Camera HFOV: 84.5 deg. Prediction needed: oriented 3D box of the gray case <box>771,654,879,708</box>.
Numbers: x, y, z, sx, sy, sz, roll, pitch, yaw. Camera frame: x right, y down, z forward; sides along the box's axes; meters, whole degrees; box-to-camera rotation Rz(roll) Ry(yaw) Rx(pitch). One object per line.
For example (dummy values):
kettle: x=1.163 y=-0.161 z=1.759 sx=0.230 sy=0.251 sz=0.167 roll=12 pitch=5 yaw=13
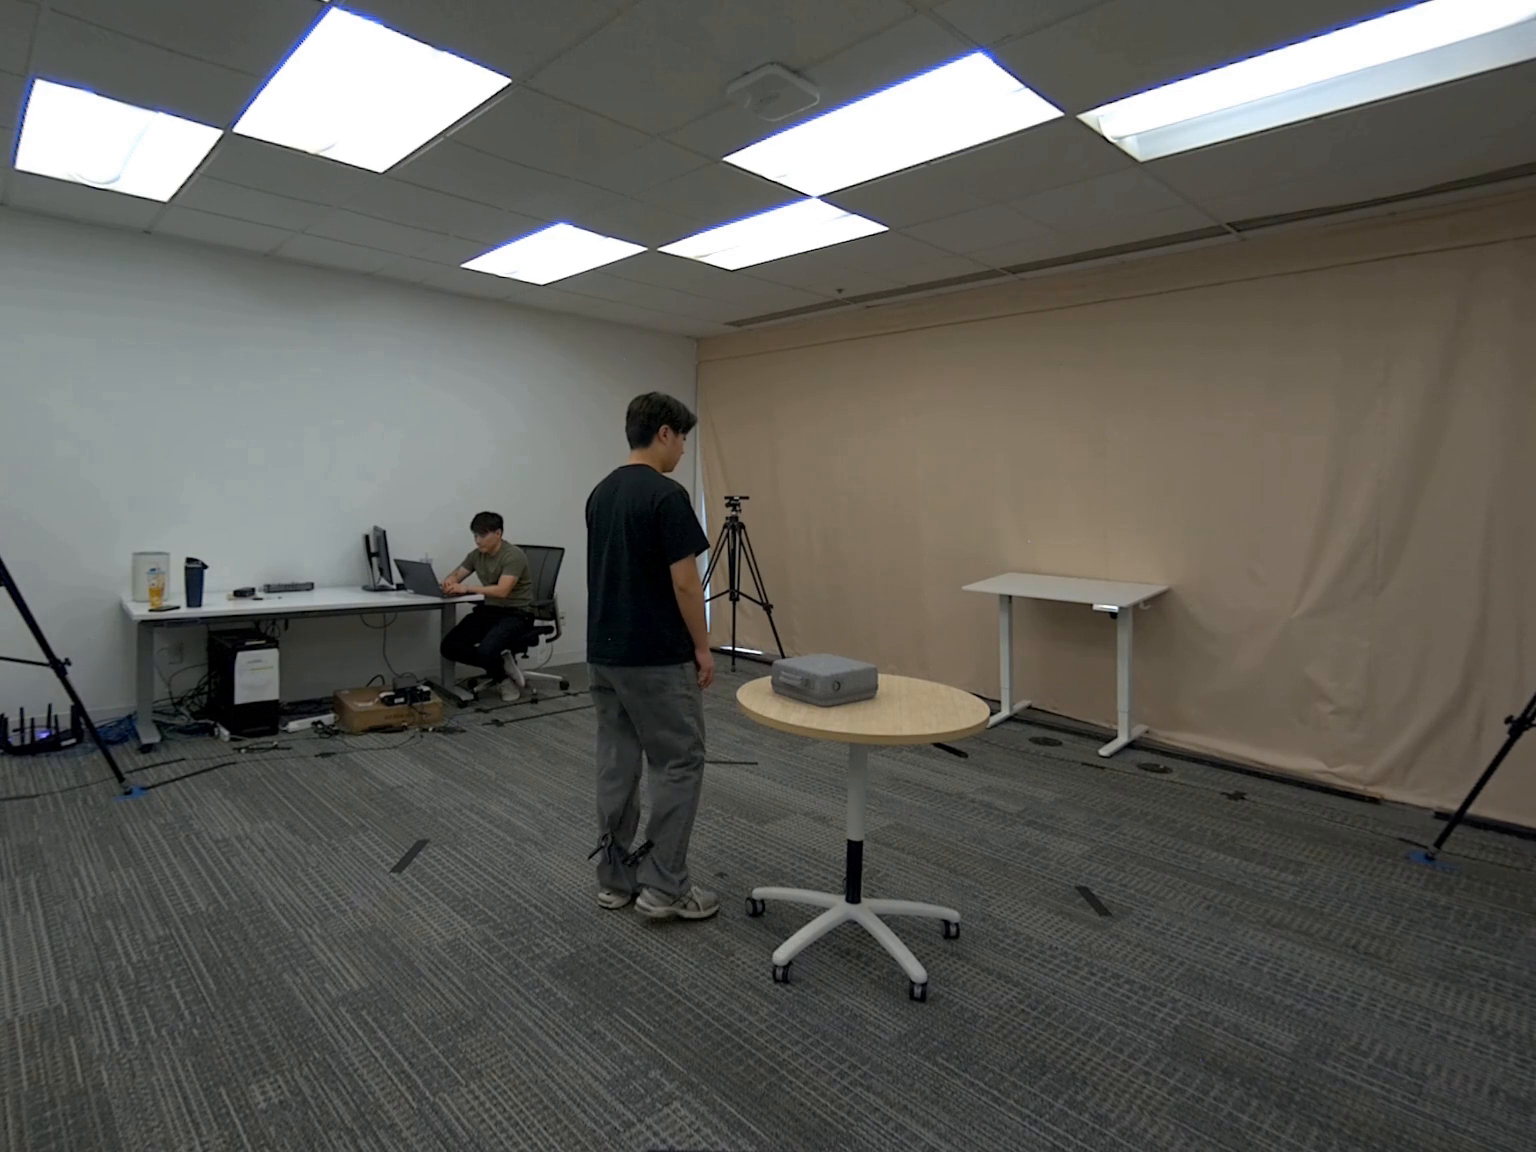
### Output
gray case: x=0.165 y=0.320 z=2.616 sx=0.281 sy=0.102 sz=0.270 roll=-3 pitch=8 yaw=-39
